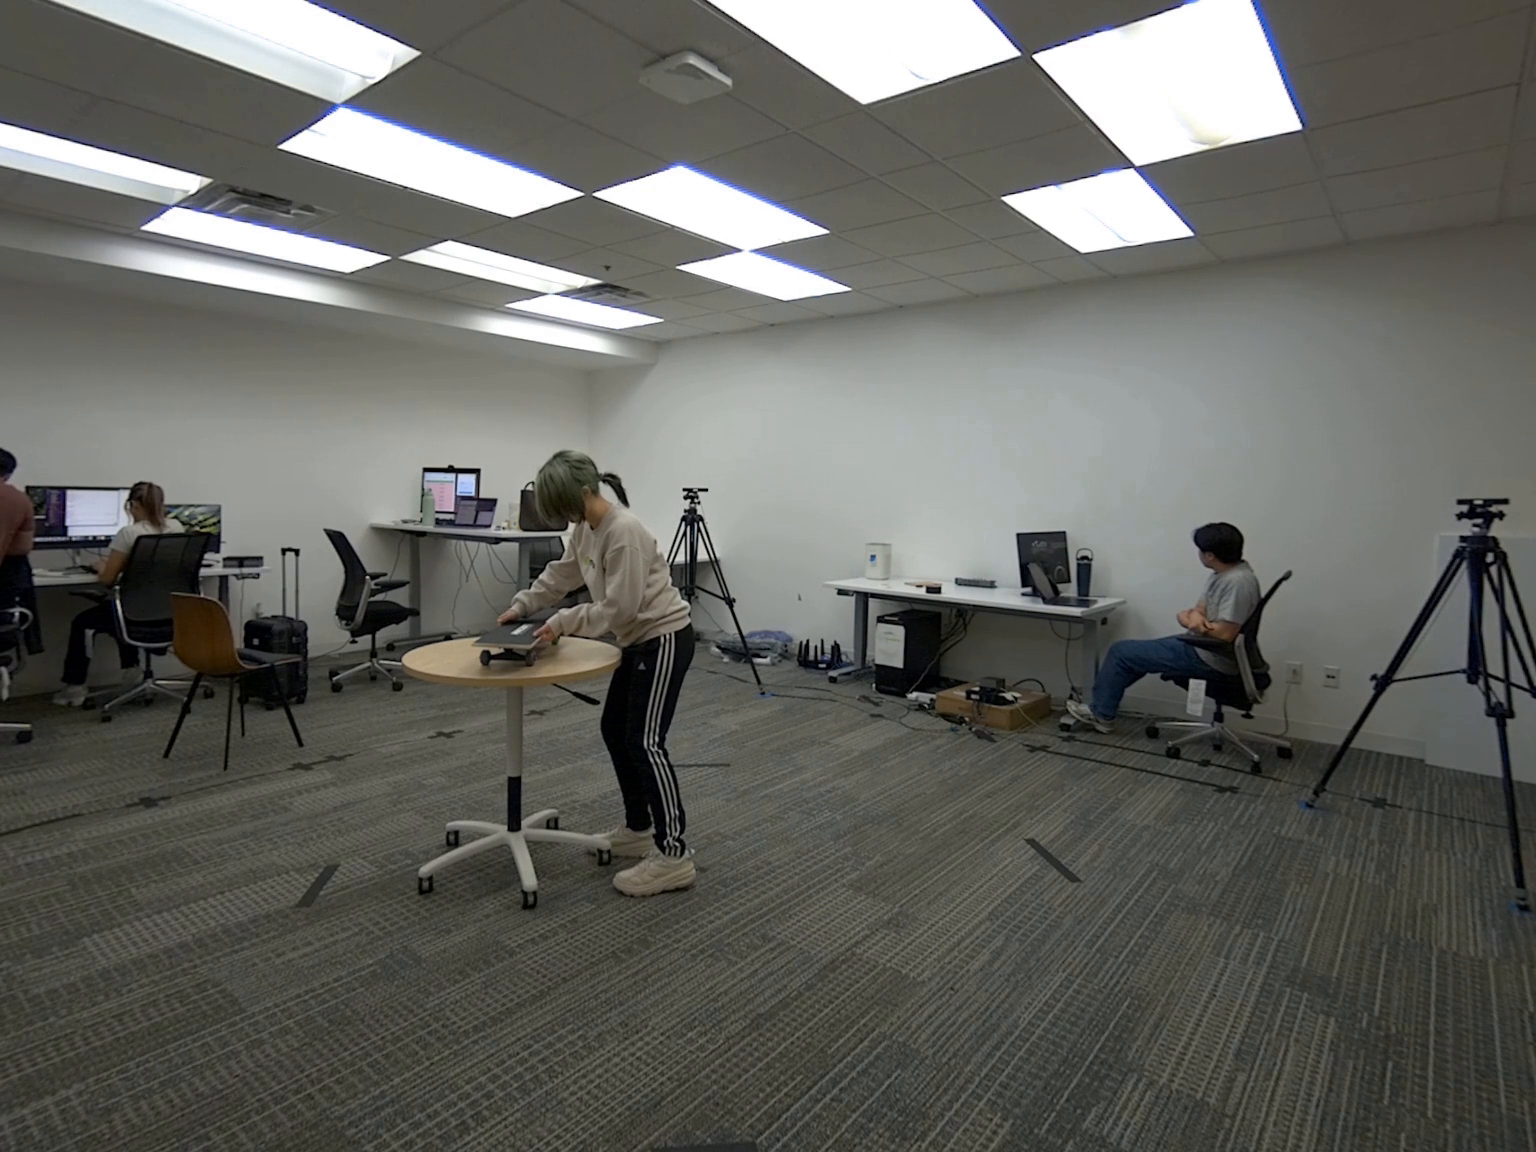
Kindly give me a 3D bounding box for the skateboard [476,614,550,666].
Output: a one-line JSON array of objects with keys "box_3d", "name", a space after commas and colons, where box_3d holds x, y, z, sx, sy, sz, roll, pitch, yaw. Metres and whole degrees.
[{"box_3d": [-0.895, 0.230, 3.068, 0.193, 0.110, 0.789, 2, 6, -2], "name": "skateboard"}]
